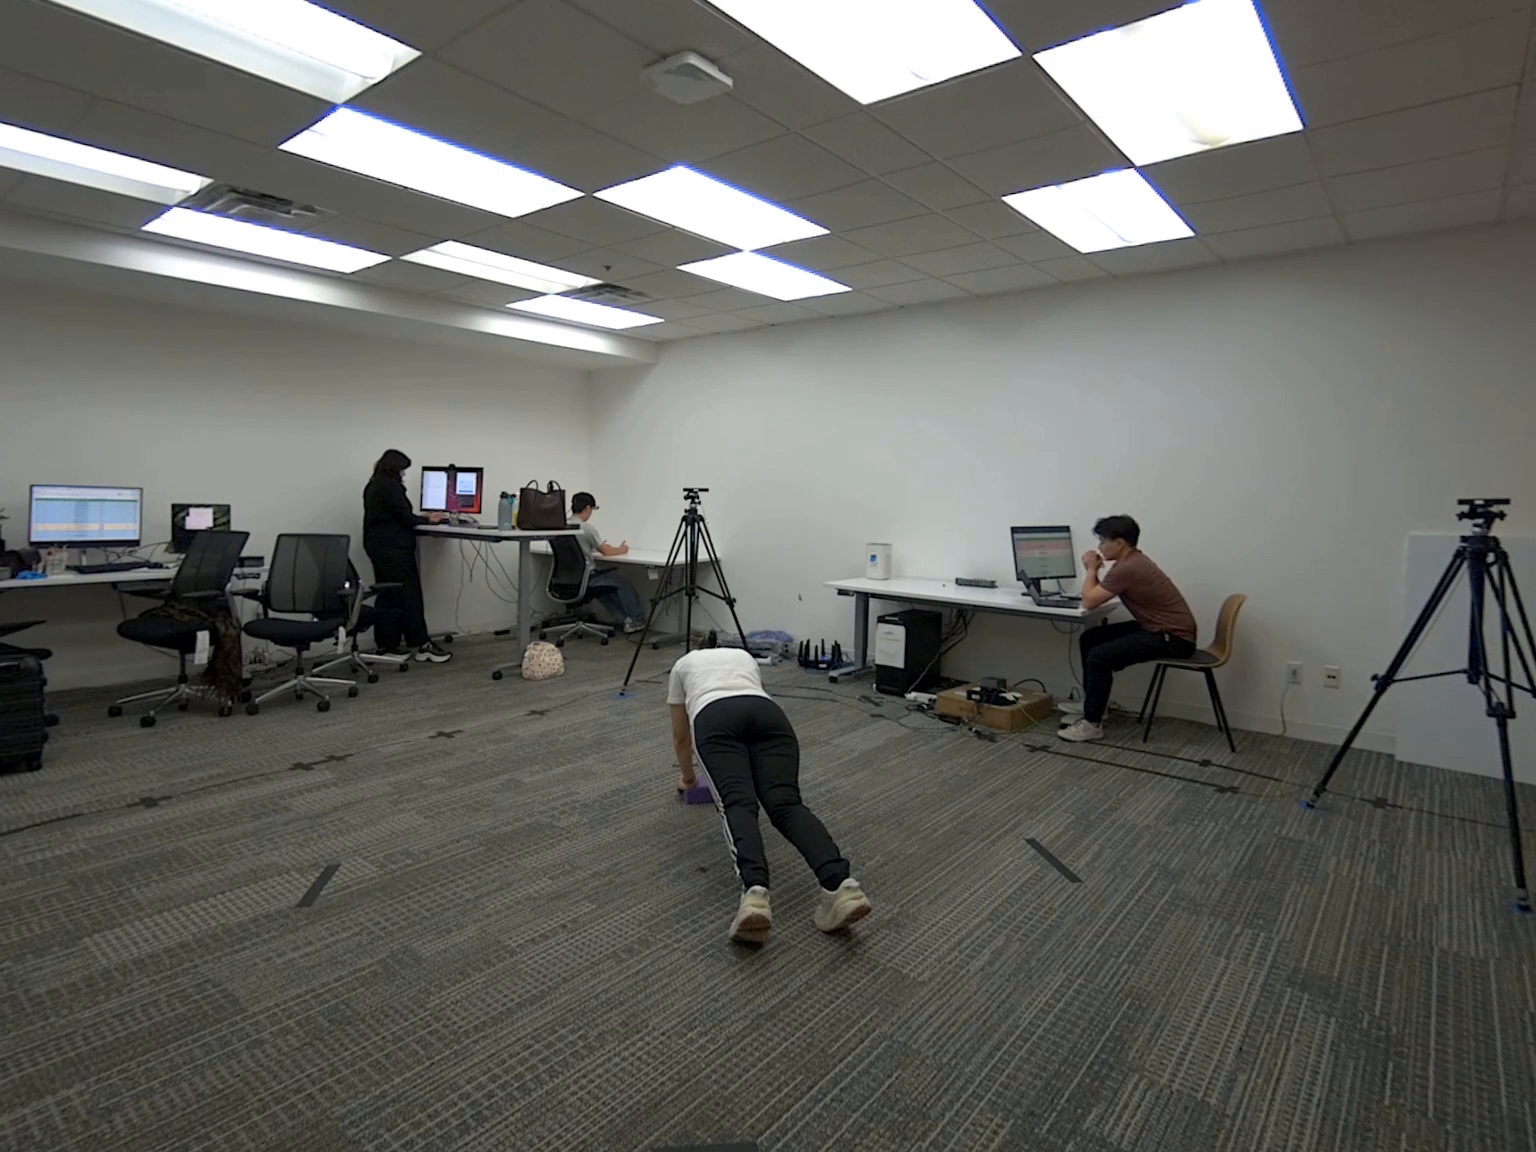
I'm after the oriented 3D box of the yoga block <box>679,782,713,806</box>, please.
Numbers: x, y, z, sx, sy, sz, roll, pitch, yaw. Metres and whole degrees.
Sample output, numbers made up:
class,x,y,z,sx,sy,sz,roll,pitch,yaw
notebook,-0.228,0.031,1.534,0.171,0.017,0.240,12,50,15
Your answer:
class,x,y,z,sx,sy,sz,roll,pitch,yaw
yoga block,-0.273,0.958,3.837,0.226,0.076,0.152,-2,5,-14
